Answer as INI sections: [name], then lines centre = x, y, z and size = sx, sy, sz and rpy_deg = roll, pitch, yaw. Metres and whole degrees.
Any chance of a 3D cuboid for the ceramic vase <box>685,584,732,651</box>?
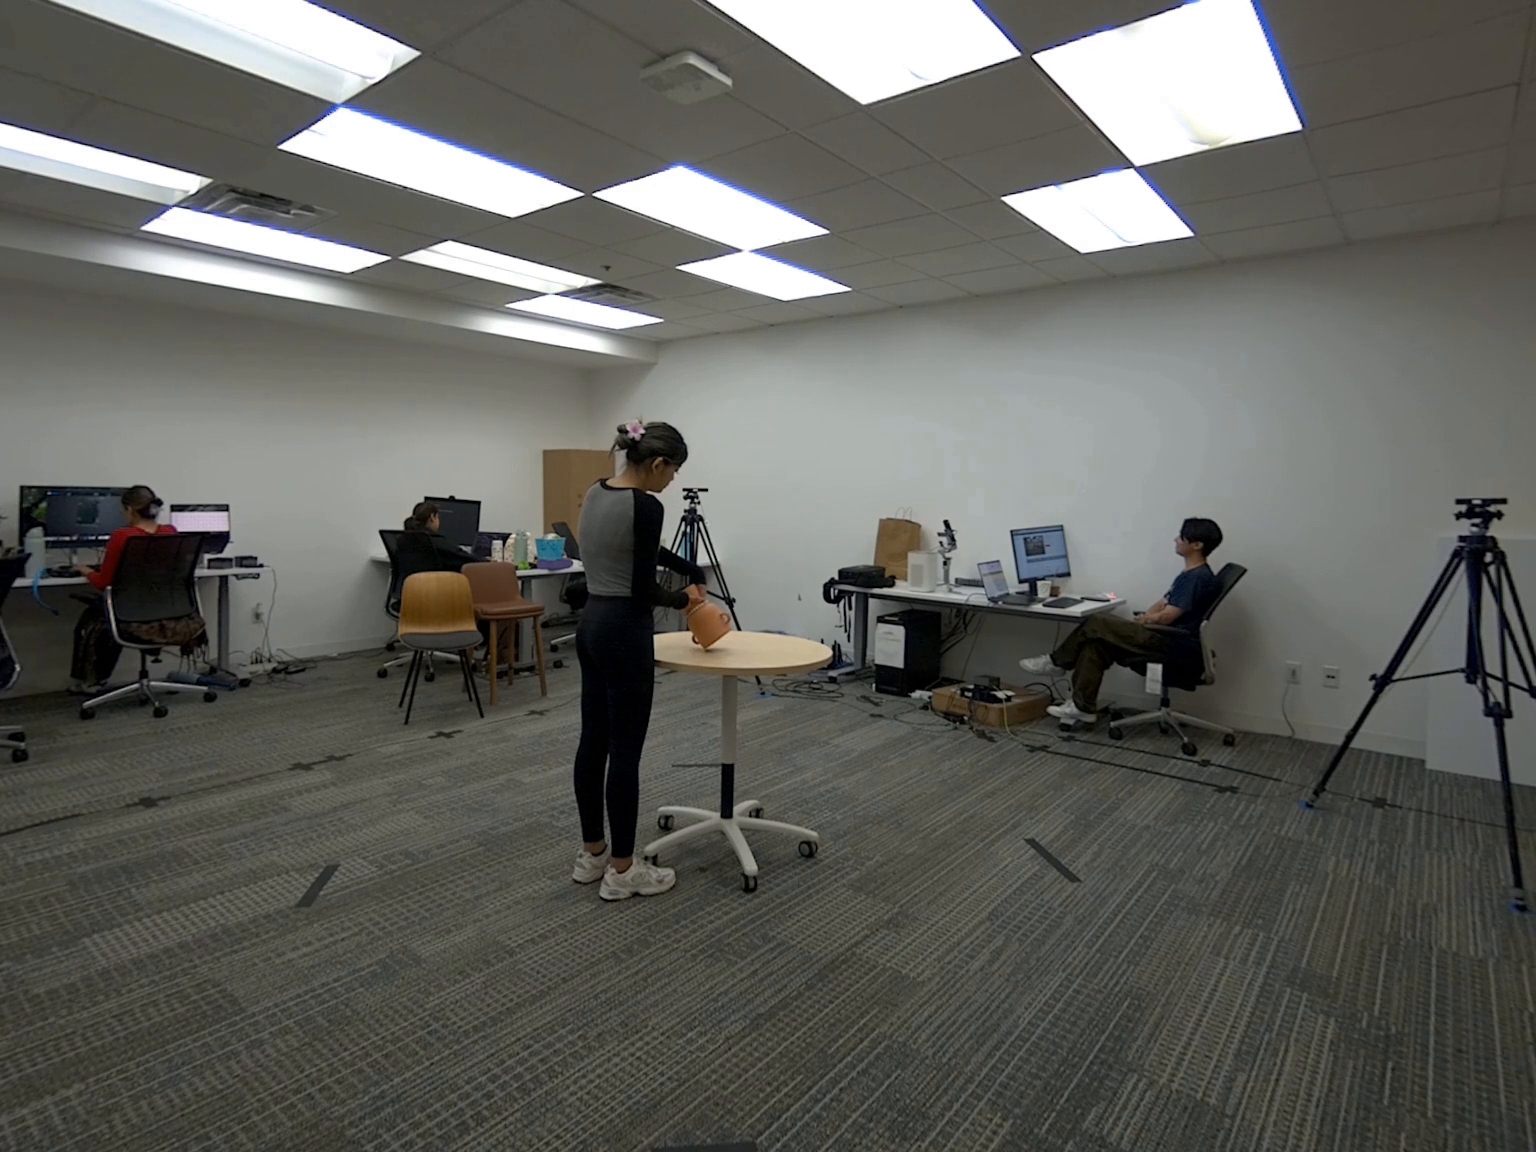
[ceramic vase]
centre = -0.253, 0.140, 3.155
size = 0.158, 0.222, 0.134
rpy_deg = -35, -6, -11
